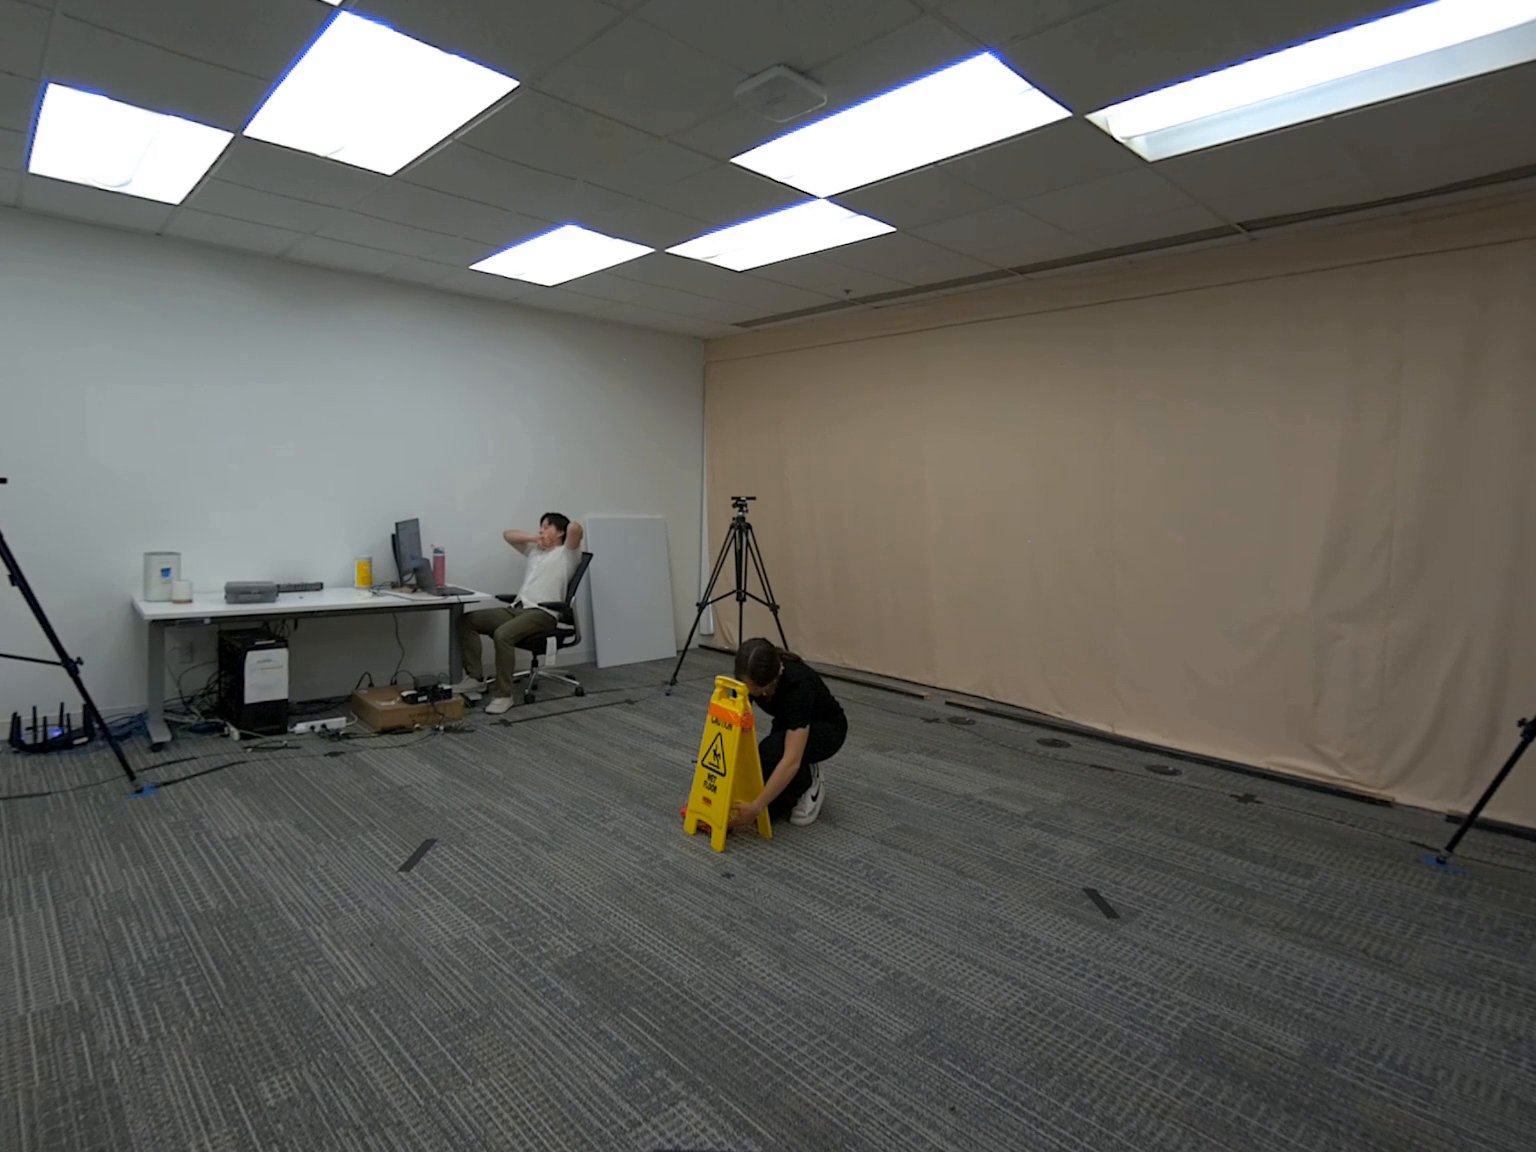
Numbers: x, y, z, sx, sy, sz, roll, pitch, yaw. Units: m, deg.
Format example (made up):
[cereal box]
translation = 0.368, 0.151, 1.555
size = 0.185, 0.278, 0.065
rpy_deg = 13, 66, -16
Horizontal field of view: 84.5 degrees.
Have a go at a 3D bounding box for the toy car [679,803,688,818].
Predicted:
[toy car]
translation = -0.254, 1.033, 3.557
size = 0.262, 0.082, 0.128
rpy_deg = 17, 18, 38
